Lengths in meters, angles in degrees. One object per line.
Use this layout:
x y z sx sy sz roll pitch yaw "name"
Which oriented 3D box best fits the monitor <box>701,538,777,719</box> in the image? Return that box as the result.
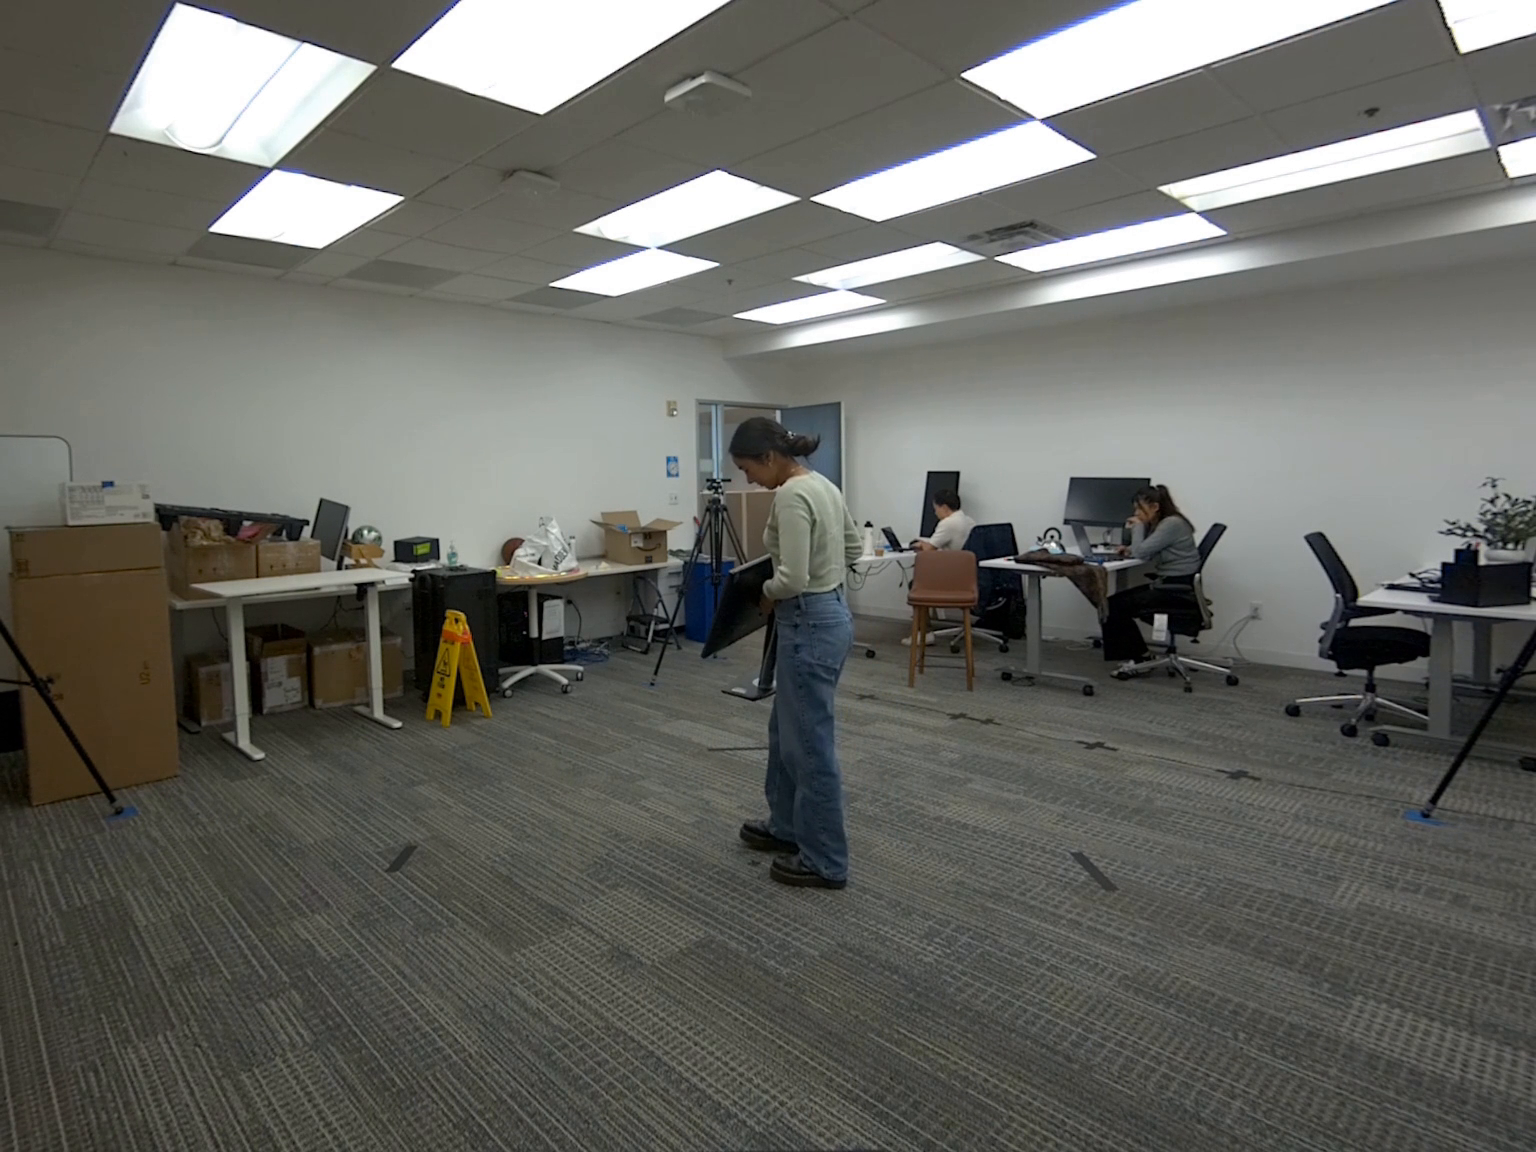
-0.013 0.155 3.100 0.180 0.509 0.522 8 18 30 "monitor"
